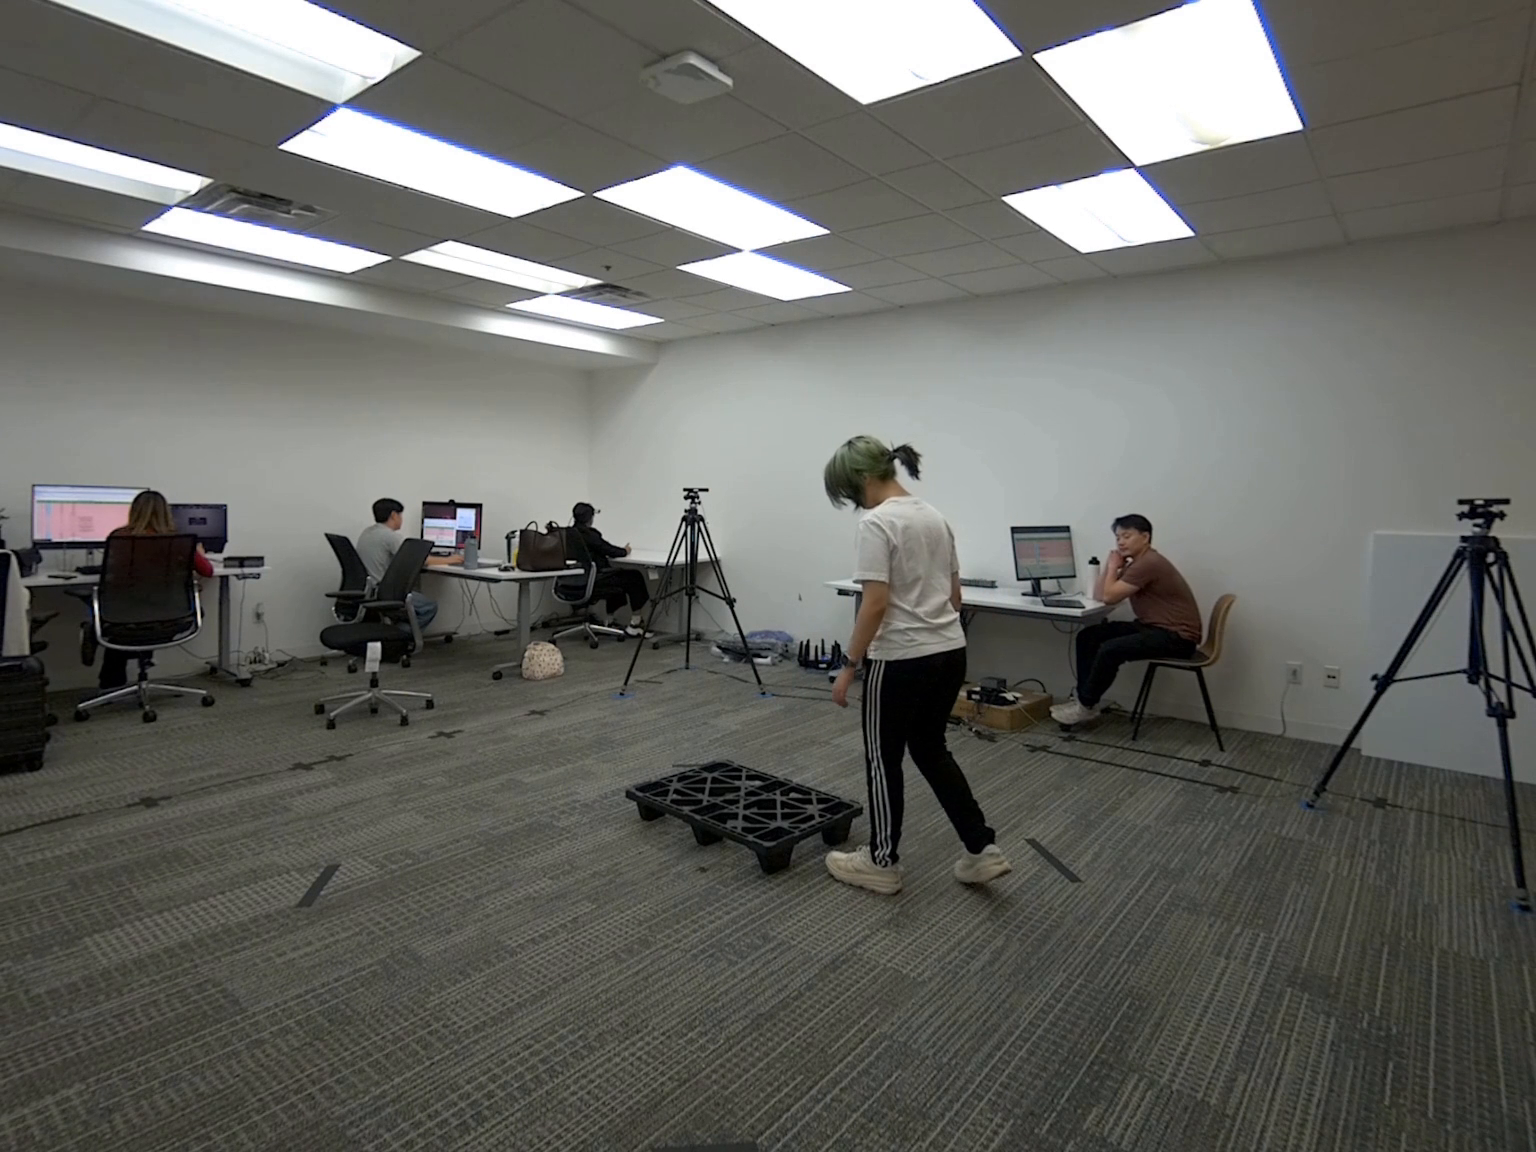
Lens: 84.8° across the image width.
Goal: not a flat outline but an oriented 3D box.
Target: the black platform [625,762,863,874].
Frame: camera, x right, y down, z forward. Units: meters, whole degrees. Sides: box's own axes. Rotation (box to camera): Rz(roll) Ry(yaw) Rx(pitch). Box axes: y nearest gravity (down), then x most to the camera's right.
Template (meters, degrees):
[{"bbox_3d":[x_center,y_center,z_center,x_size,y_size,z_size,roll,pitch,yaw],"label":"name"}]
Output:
[{"bbox_3d":[-0.119,0.967,3.494,0.833,0.143,0.587,6,7,42],"label":"black platform"}]
